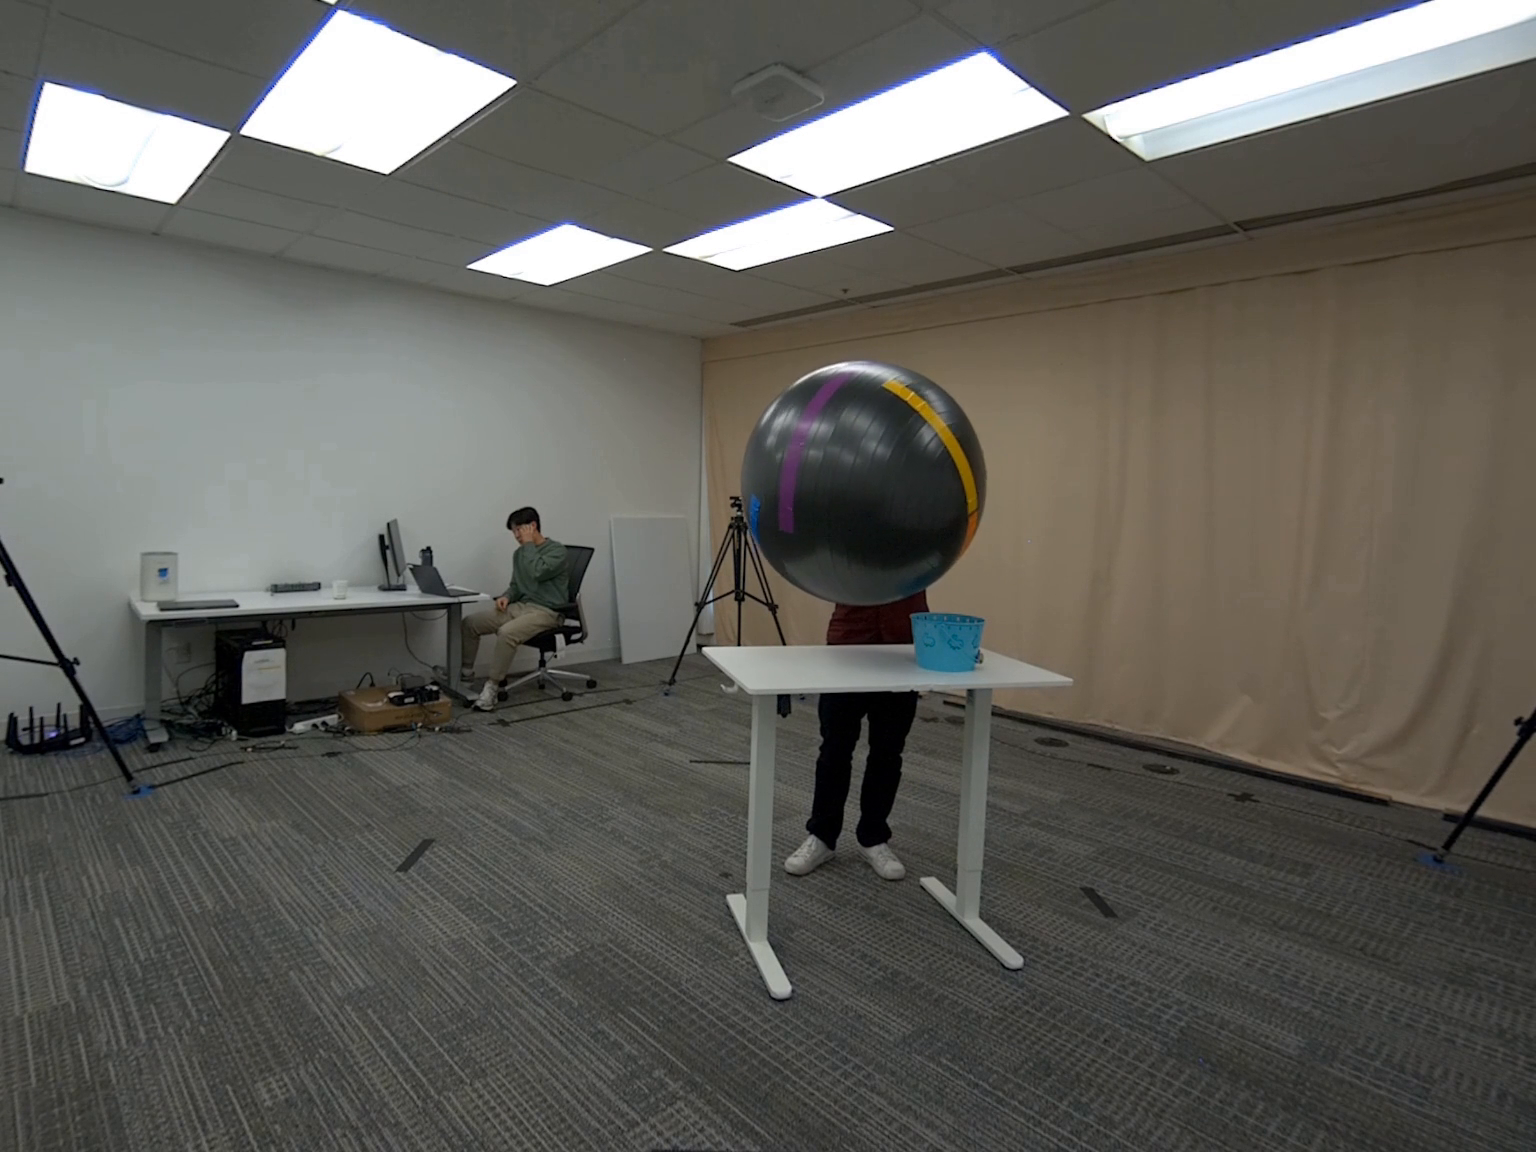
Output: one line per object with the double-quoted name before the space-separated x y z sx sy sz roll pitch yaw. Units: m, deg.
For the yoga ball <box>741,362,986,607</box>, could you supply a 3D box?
"yoga ball" 0.293 -0.277 2.633 0.757 0.756 0.760 1 4 -1
